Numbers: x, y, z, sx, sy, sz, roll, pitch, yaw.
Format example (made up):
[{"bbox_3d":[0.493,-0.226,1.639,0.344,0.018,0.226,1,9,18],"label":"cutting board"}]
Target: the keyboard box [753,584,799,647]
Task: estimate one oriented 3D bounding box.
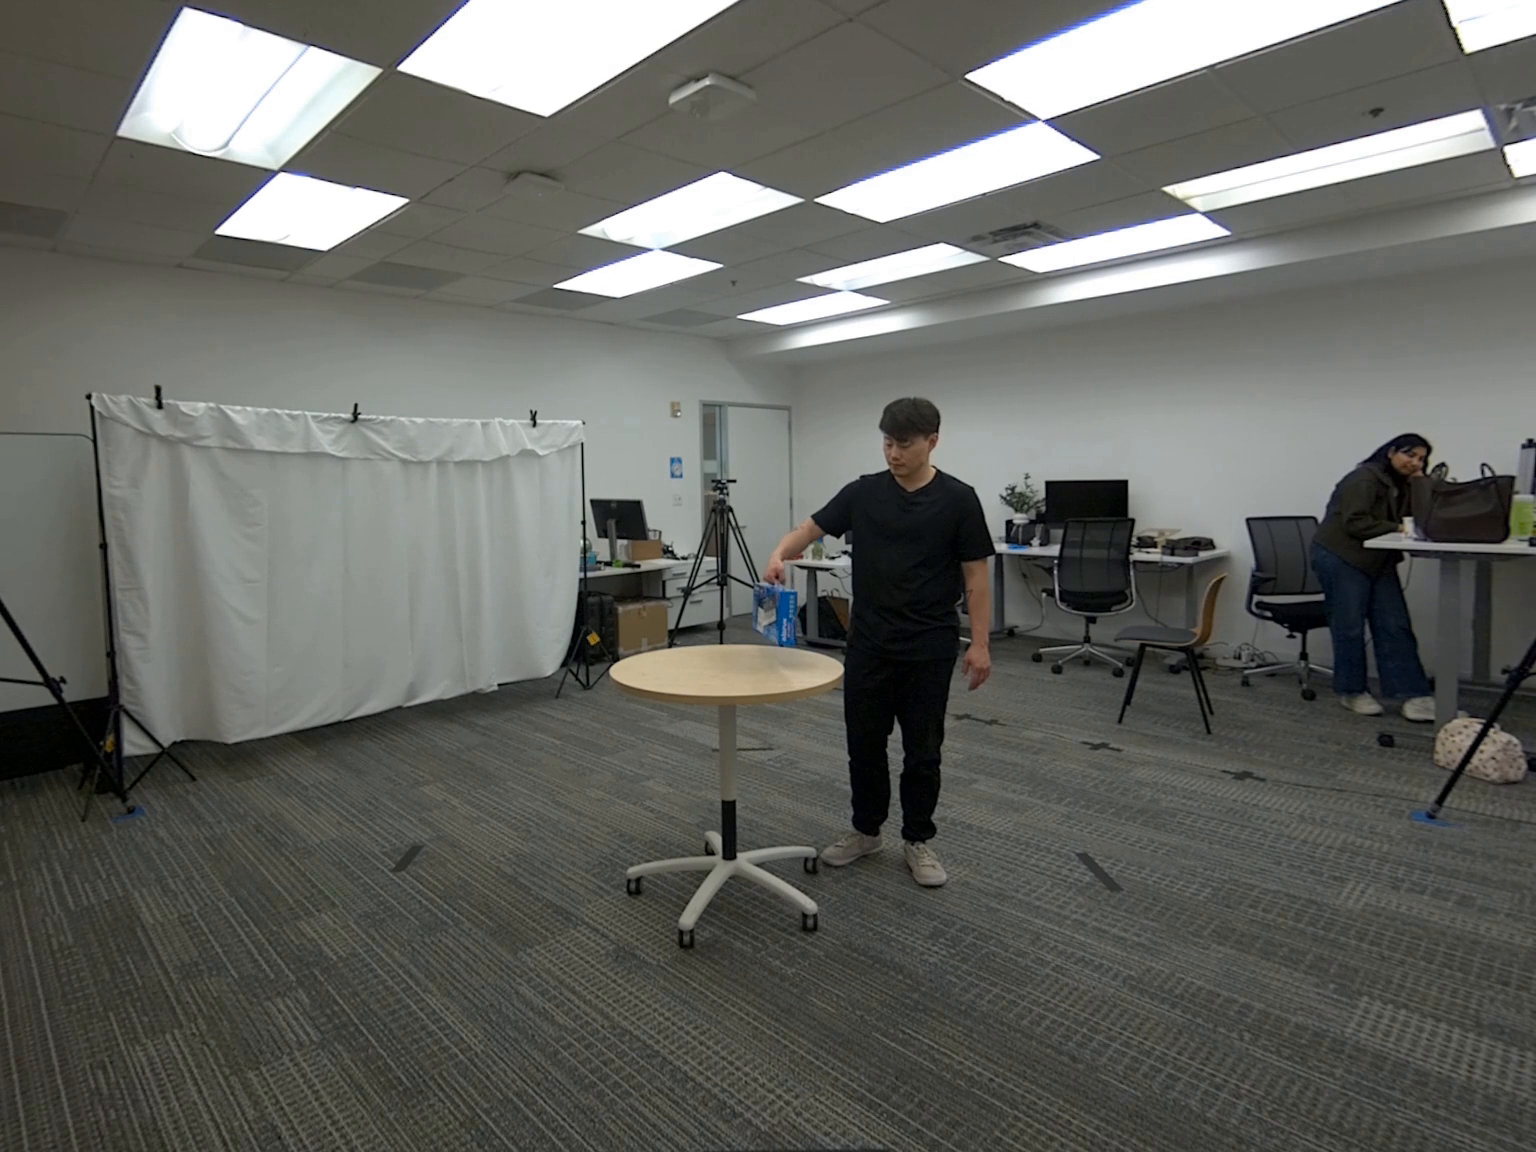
[{"bbox_3d":[0.023,0.125,2.920,0.058,0.176,0.441,1,2,-12],"label":"keyboard box"}]
